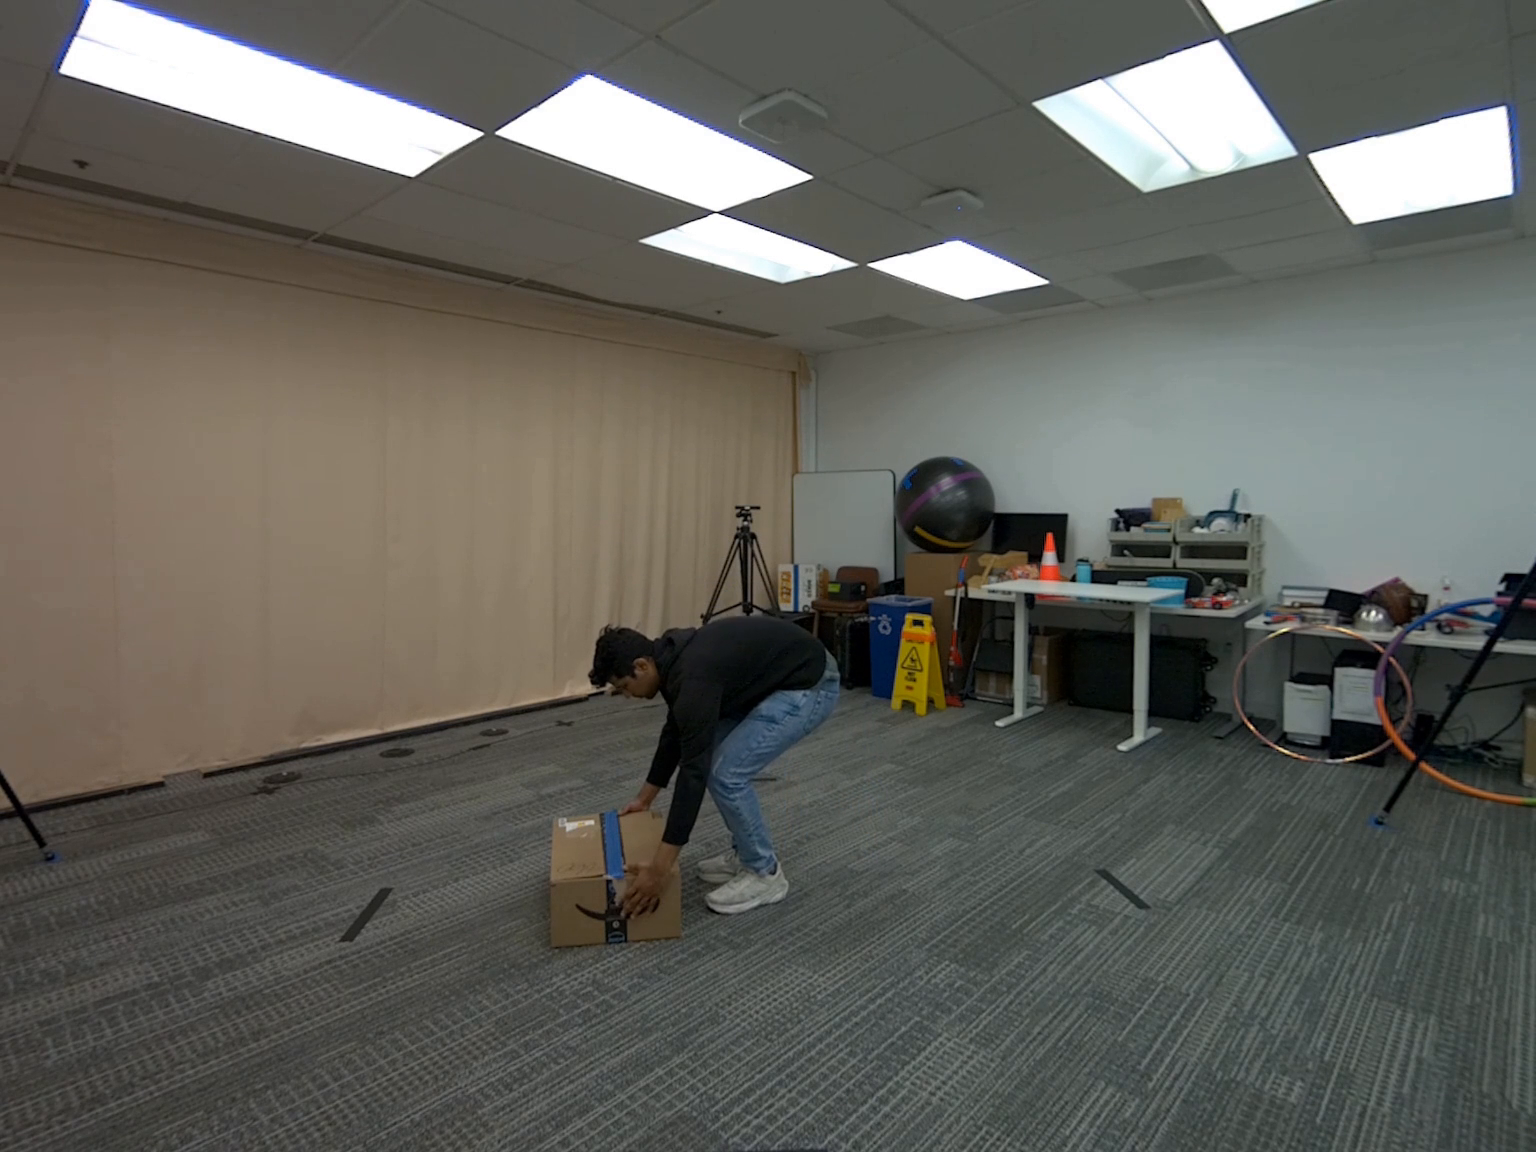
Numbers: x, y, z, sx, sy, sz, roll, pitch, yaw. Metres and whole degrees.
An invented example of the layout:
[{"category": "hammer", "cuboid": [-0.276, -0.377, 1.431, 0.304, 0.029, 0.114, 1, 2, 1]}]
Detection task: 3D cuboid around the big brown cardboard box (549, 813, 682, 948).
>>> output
[{"category": "big brown cardboard box", "cuboid": [-0.546, 1.044, 2.959, 0.413, 0.232, 0.598, -3, 5, -12]}]
